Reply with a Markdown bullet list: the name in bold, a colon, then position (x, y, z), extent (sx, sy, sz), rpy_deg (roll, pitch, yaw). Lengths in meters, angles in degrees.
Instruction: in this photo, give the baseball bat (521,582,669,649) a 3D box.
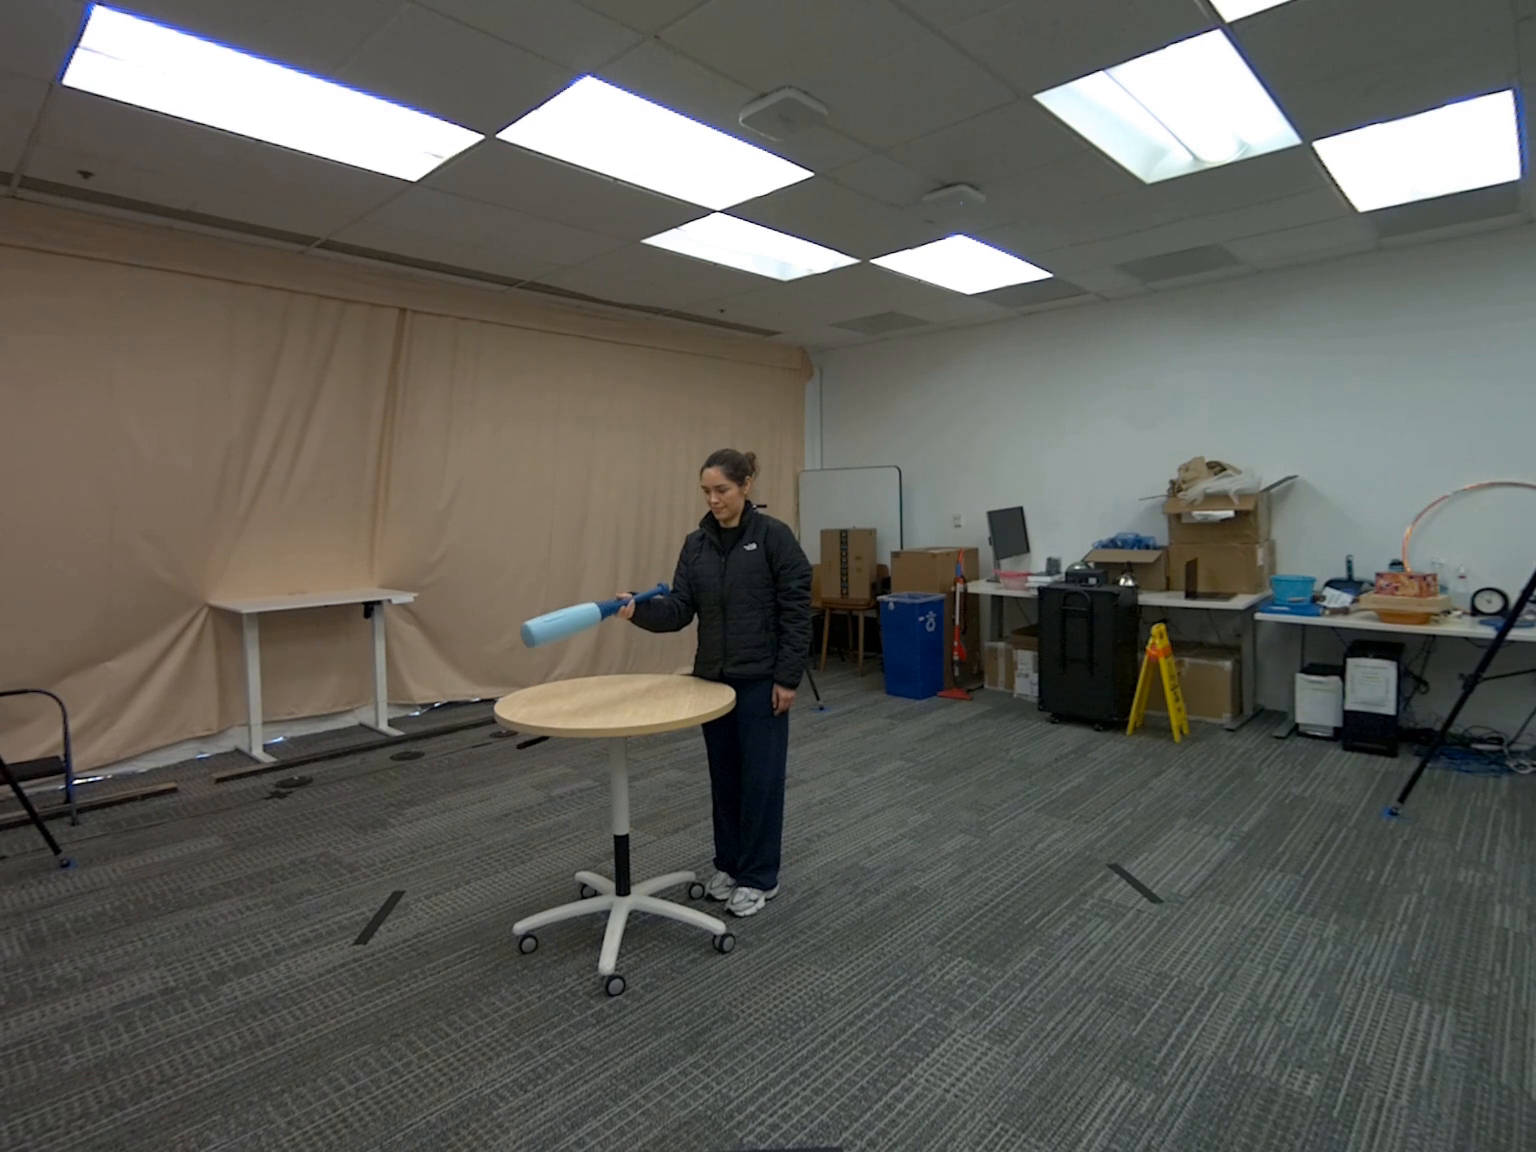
- **baseball bat**: position (-0.522, 0.113, 2.676), extent (0.530, 0.088, 0.092), rpy_deg (-19, 15, -39)
